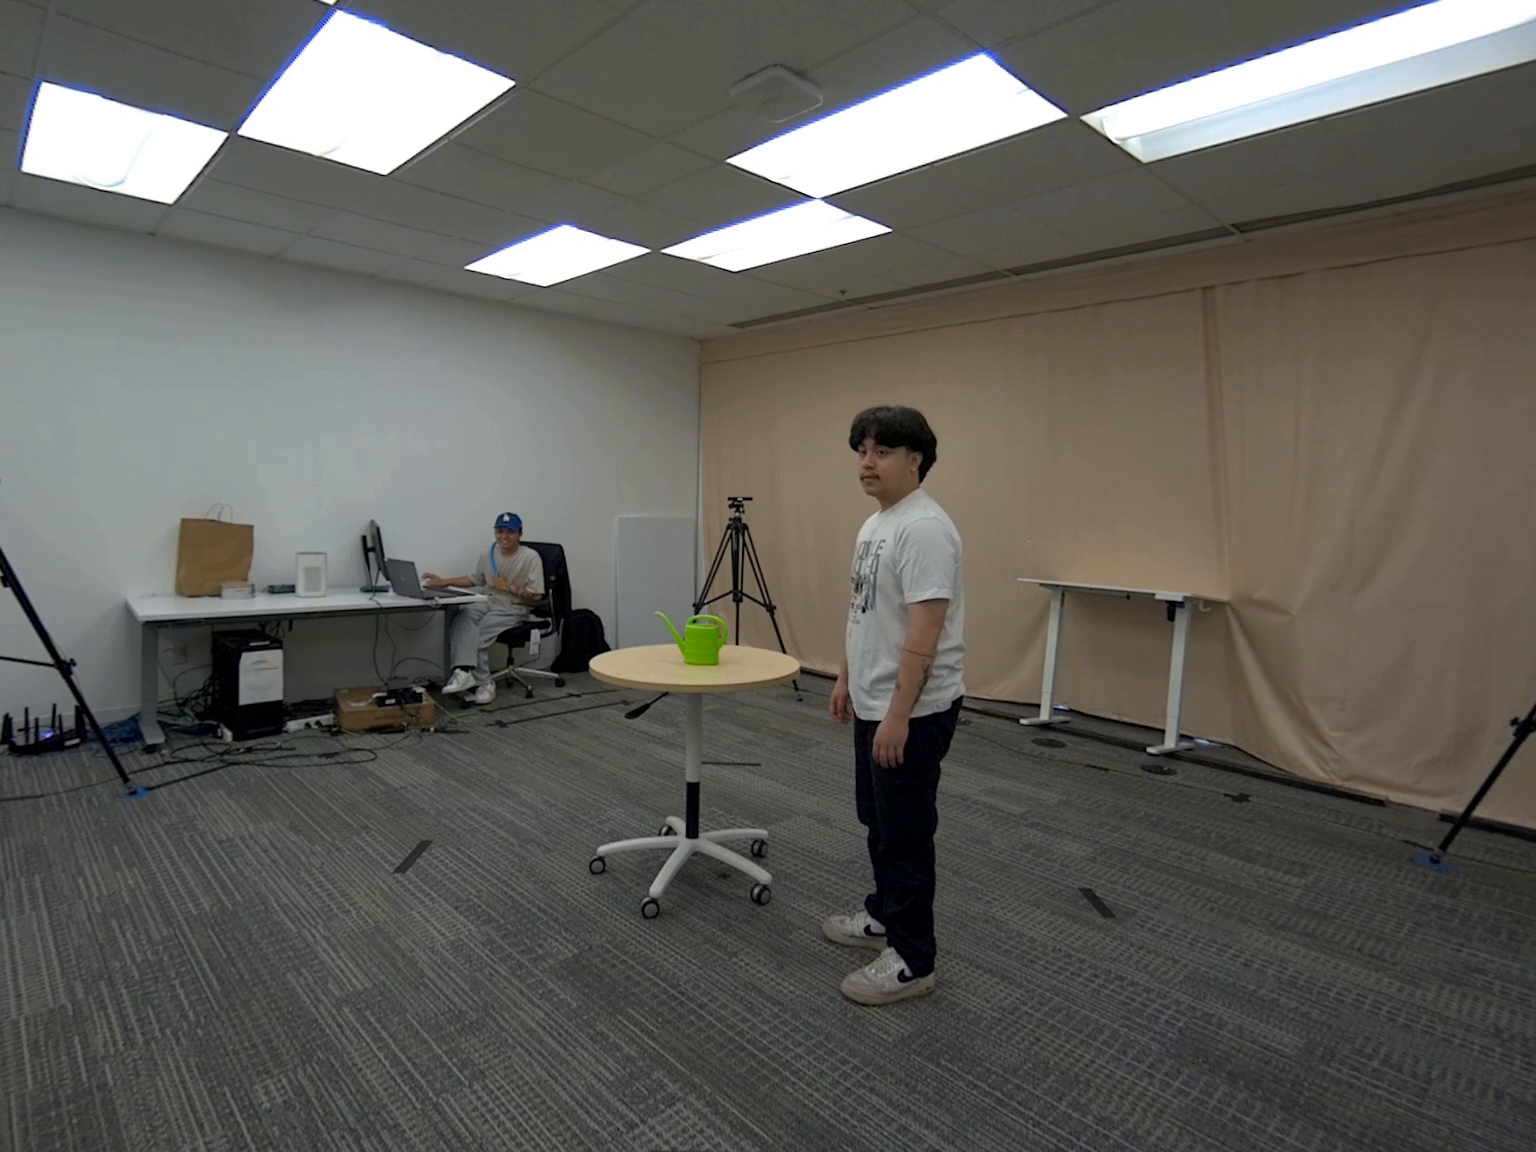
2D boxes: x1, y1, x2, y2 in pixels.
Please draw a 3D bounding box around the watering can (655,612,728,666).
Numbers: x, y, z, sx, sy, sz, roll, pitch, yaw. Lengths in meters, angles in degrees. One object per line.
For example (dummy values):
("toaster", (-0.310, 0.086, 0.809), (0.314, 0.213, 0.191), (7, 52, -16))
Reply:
("watering can", (-0.284, 0.229, 3.078), (0.285, 0.176, 0.096), (6, 7, 33))
